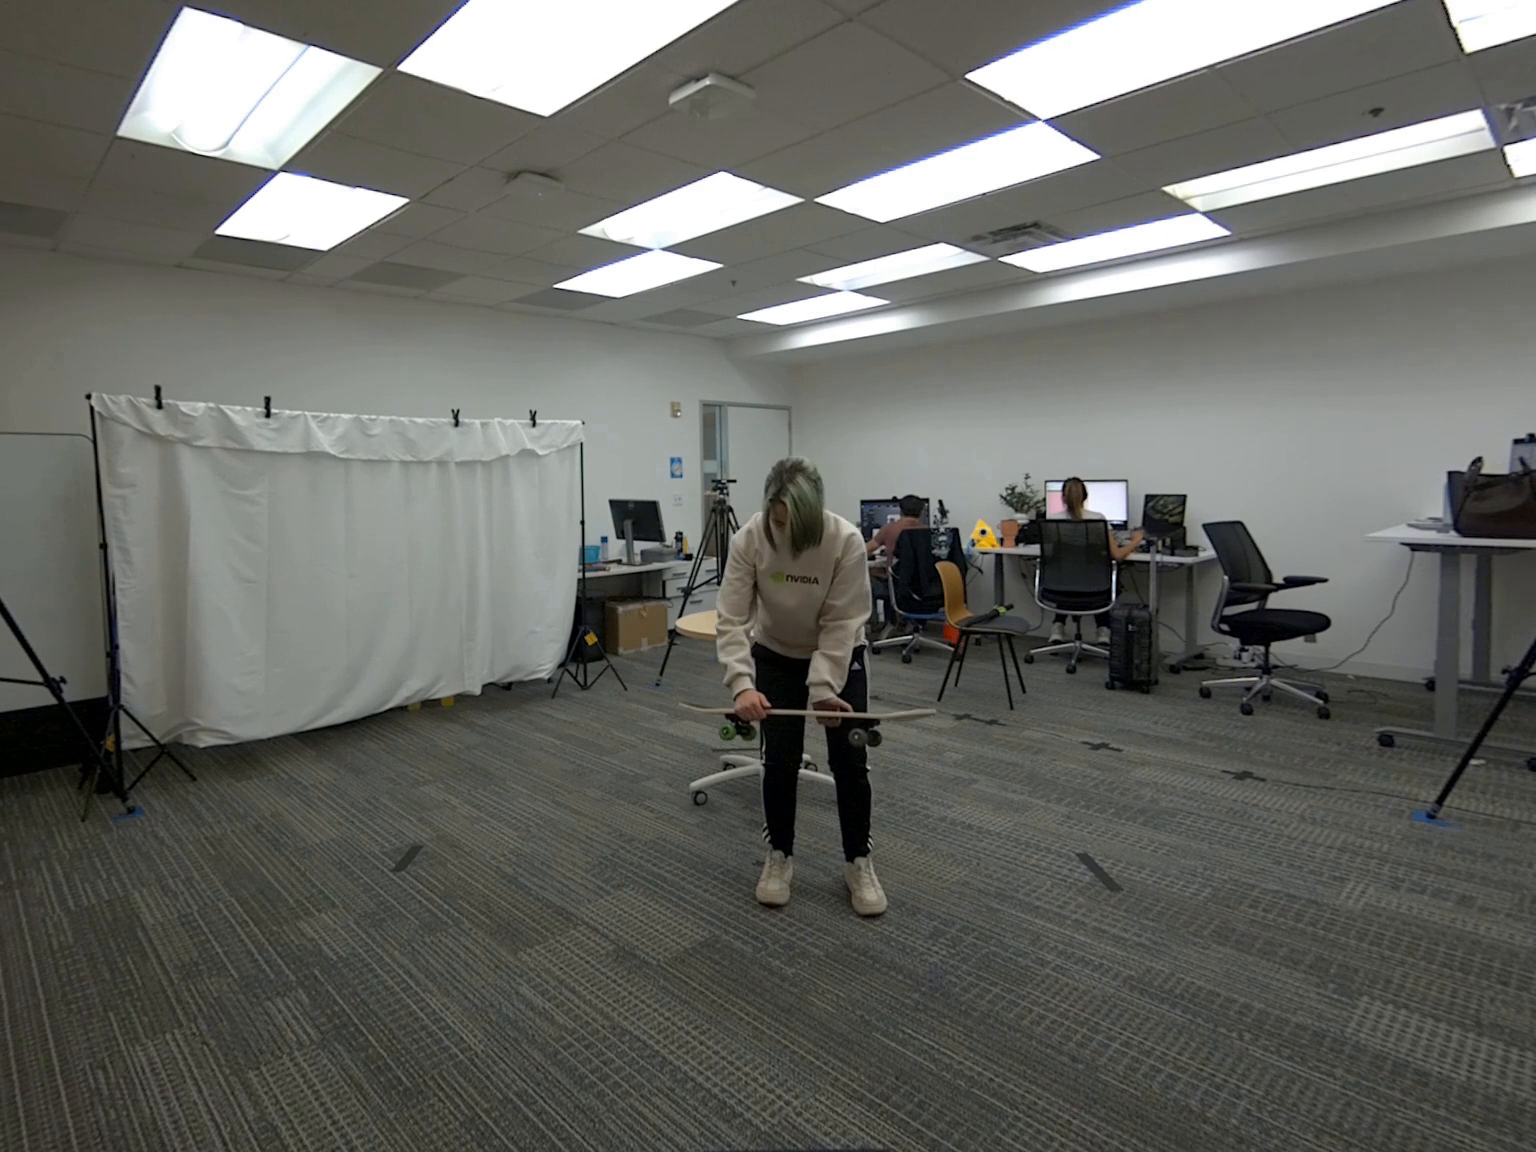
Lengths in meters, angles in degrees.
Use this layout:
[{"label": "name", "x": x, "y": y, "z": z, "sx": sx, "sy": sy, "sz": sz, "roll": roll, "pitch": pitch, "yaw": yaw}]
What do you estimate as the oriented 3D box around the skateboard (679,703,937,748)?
[{"label": "skateboard", "x": 0.101, "y": 0.444, "z": 2.502, "sx": 0.801, "sy": 0.111, "sz": 0.187, "roll": -2, "pitch": -13, "yaw": 24}]
